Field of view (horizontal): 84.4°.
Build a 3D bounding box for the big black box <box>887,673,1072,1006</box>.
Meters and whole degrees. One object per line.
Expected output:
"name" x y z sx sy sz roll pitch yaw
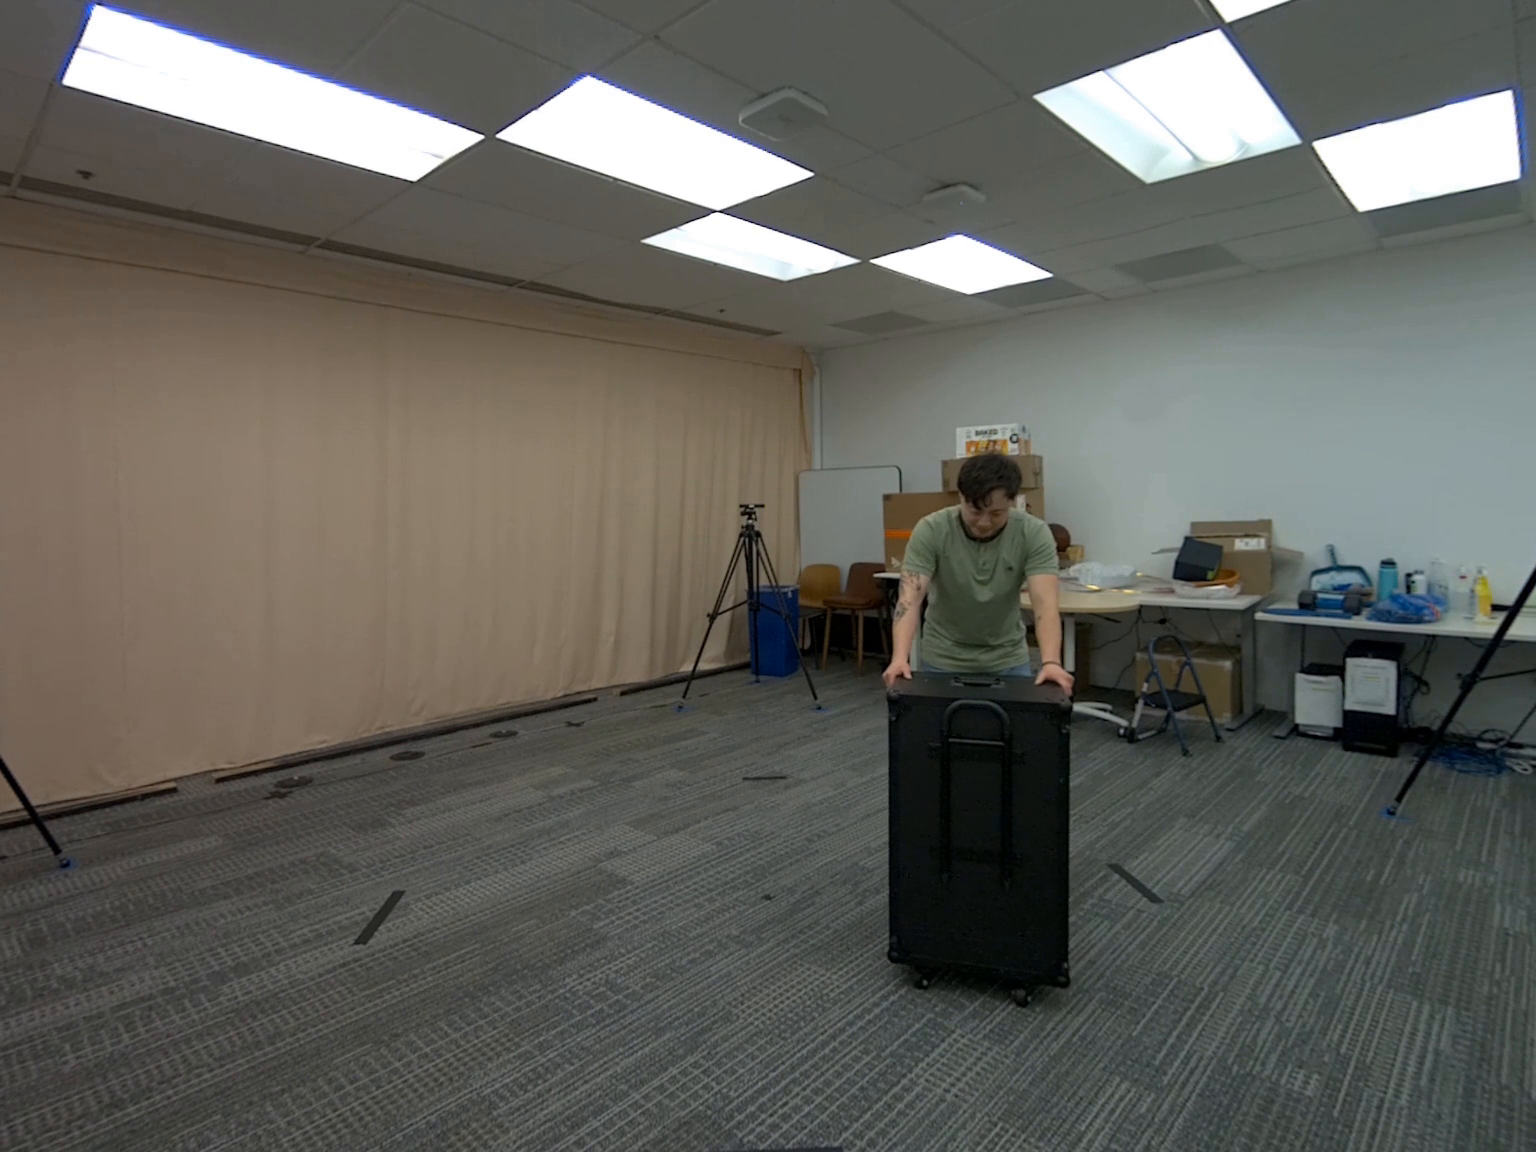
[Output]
"big black box" 0.626 0.750 2.477 0.531 0.859 0.390 0 4 18
